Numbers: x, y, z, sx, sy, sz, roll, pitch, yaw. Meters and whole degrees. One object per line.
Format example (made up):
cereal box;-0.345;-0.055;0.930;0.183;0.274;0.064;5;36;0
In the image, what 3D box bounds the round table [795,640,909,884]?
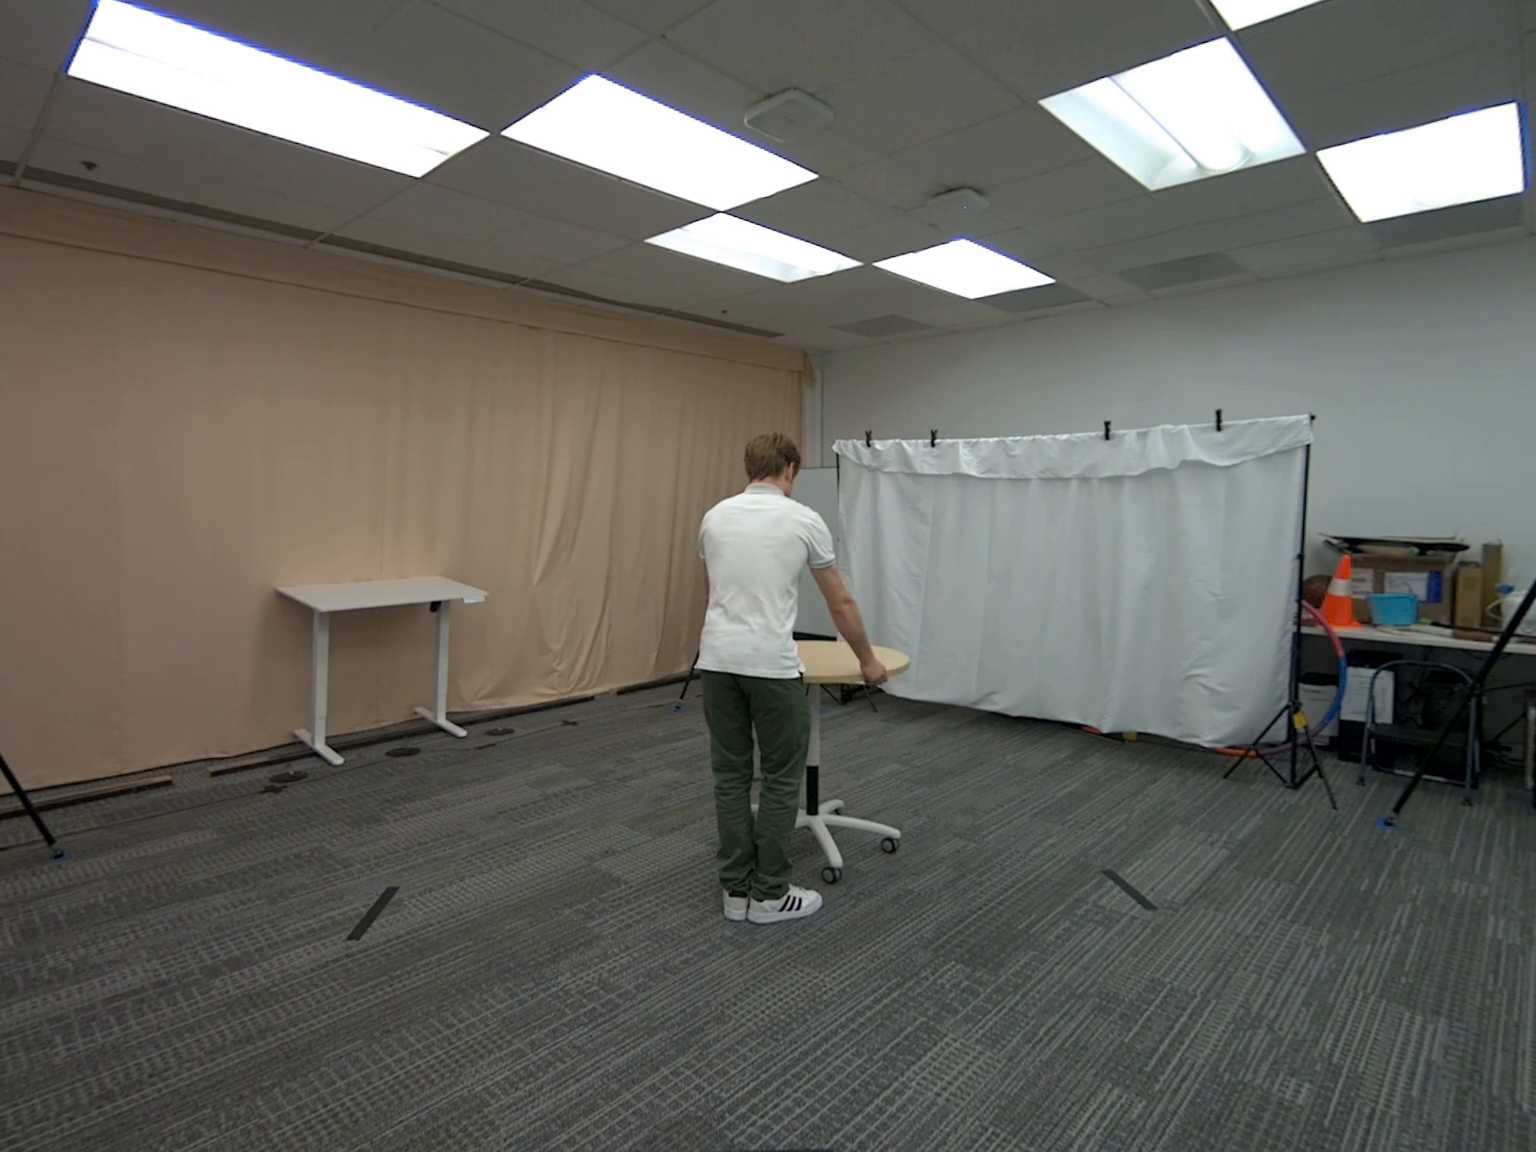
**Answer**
round table;0.184;0.717;3.404;0.763;0.792;0.767;0;4;-2
